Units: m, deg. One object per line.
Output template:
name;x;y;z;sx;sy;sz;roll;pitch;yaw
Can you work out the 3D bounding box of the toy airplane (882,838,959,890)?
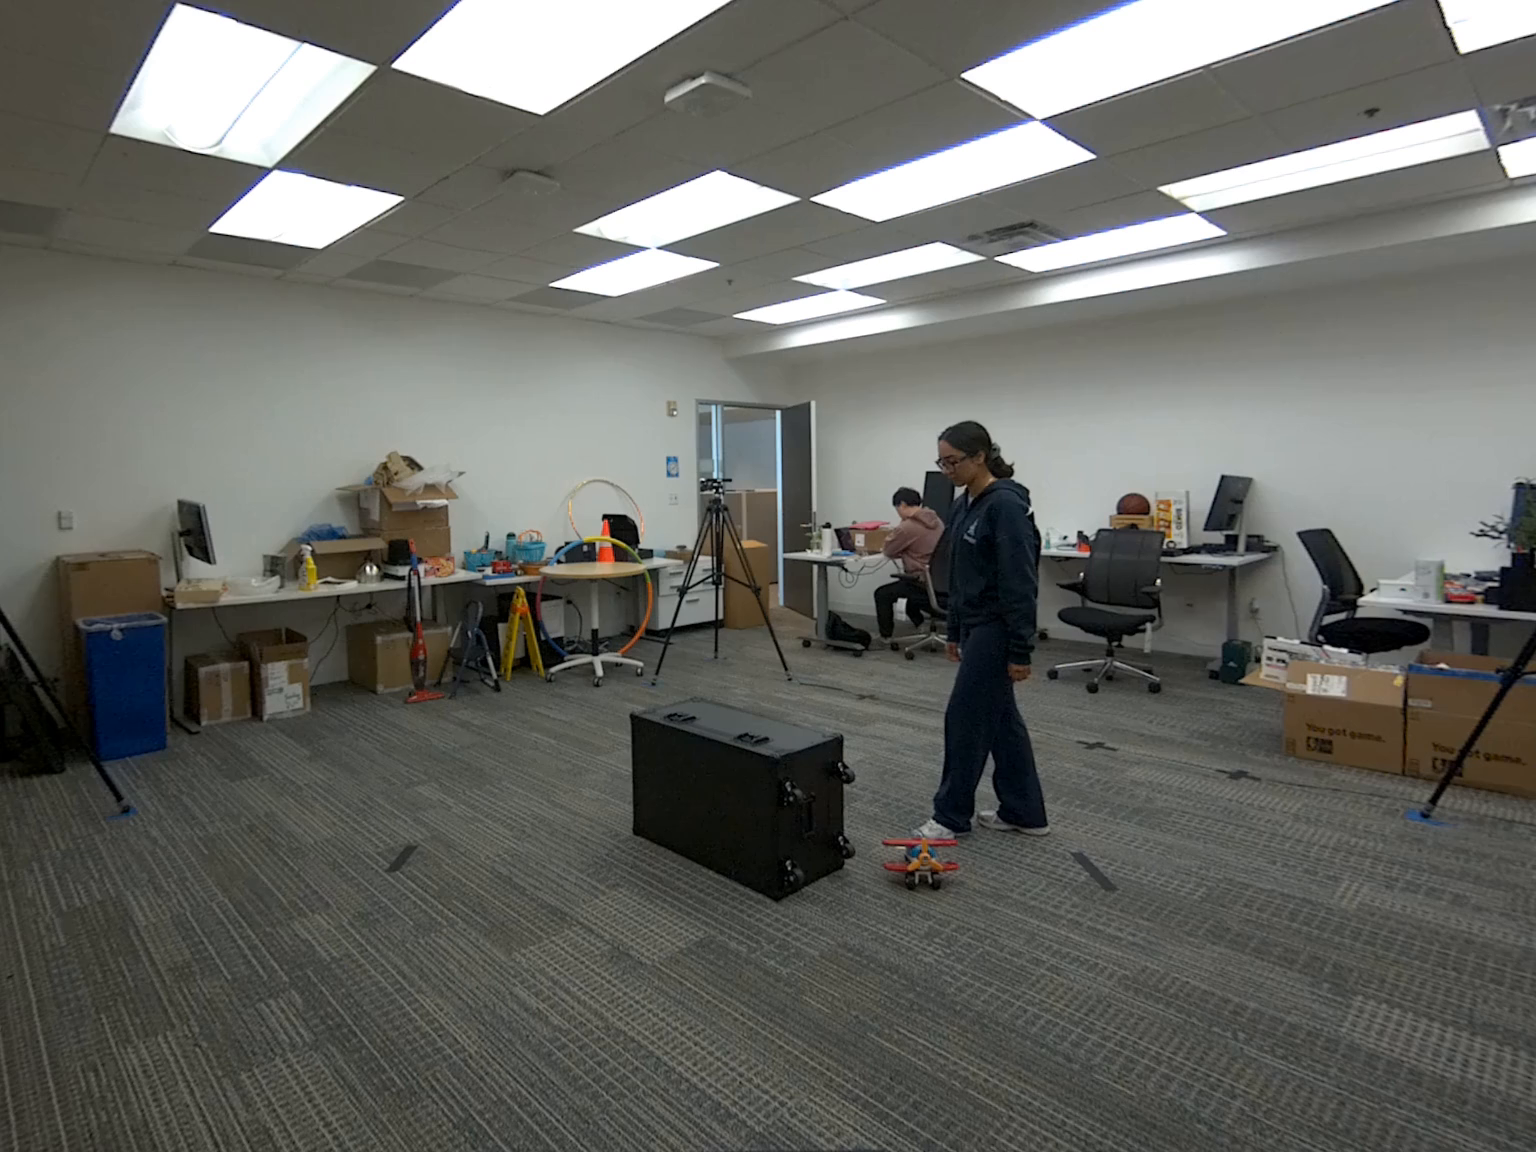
toy airplane;0.504;0.972;2.955;0.245;0.155;0.266;-4;8;-28
